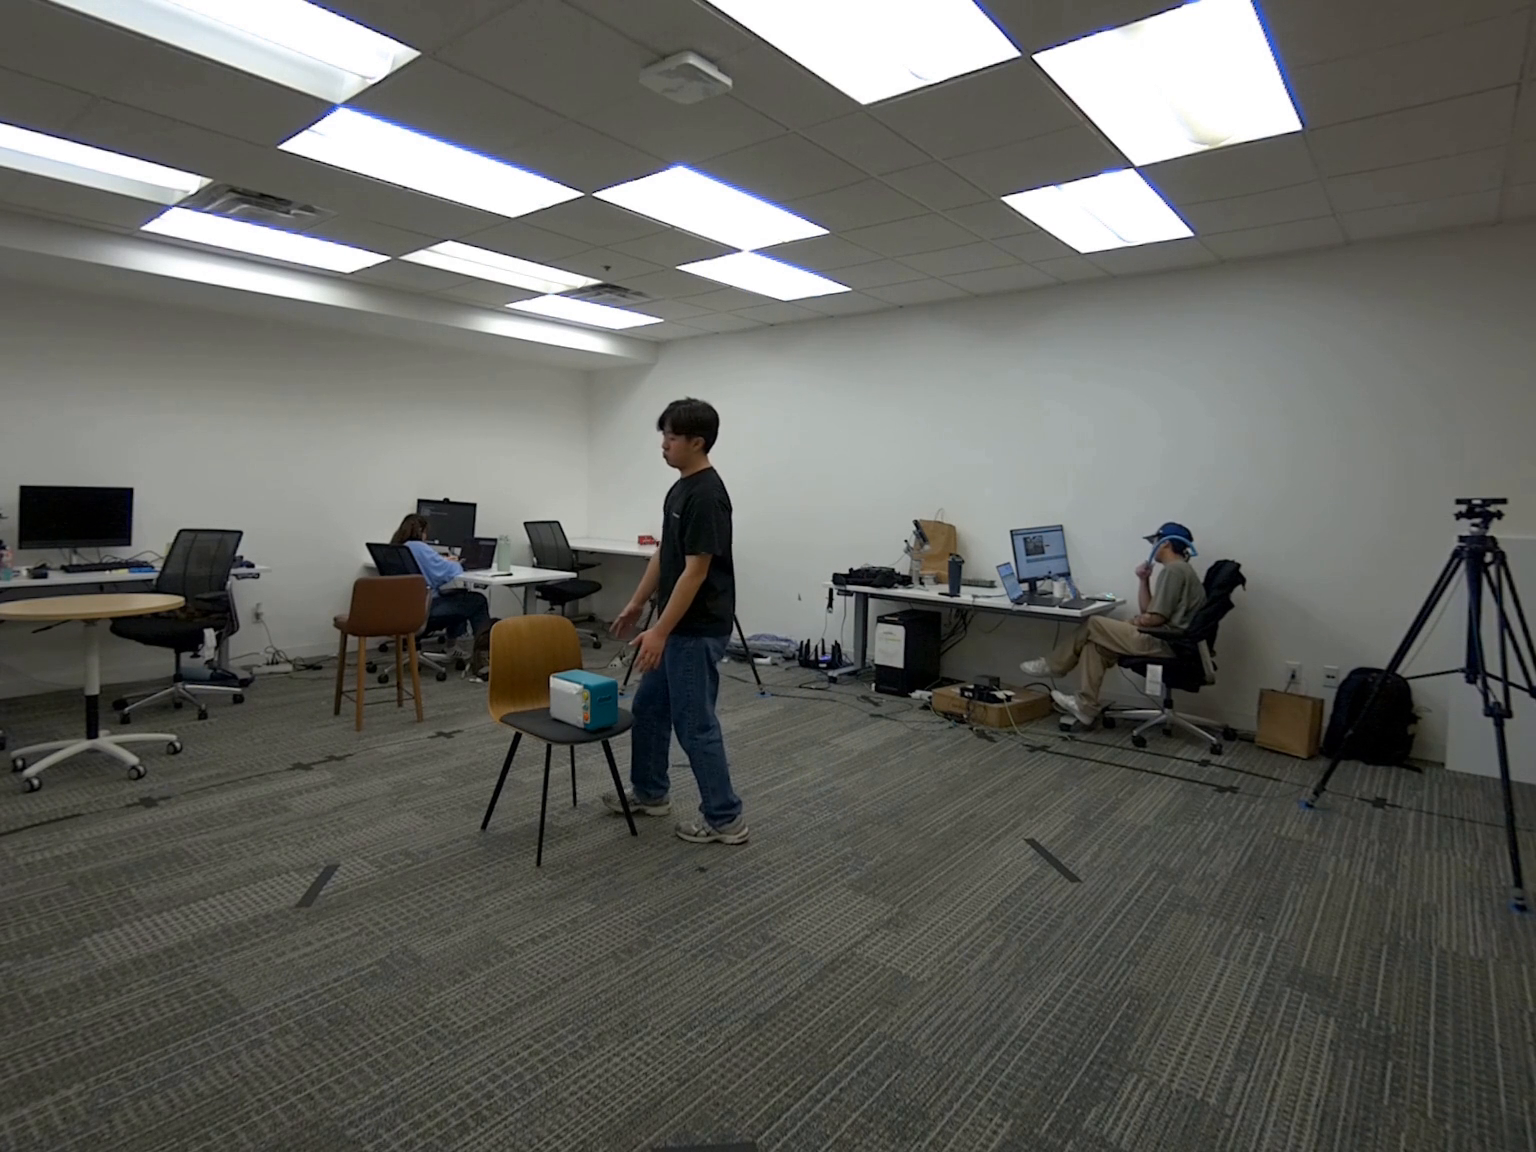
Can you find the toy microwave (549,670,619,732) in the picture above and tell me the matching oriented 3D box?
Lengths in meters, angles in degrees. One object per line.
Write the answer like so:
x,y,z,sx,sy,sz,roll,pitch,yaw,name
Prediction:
-0.735,0.473,3.293,0.296,0.183,0.148,6,7,43,toy microwave
